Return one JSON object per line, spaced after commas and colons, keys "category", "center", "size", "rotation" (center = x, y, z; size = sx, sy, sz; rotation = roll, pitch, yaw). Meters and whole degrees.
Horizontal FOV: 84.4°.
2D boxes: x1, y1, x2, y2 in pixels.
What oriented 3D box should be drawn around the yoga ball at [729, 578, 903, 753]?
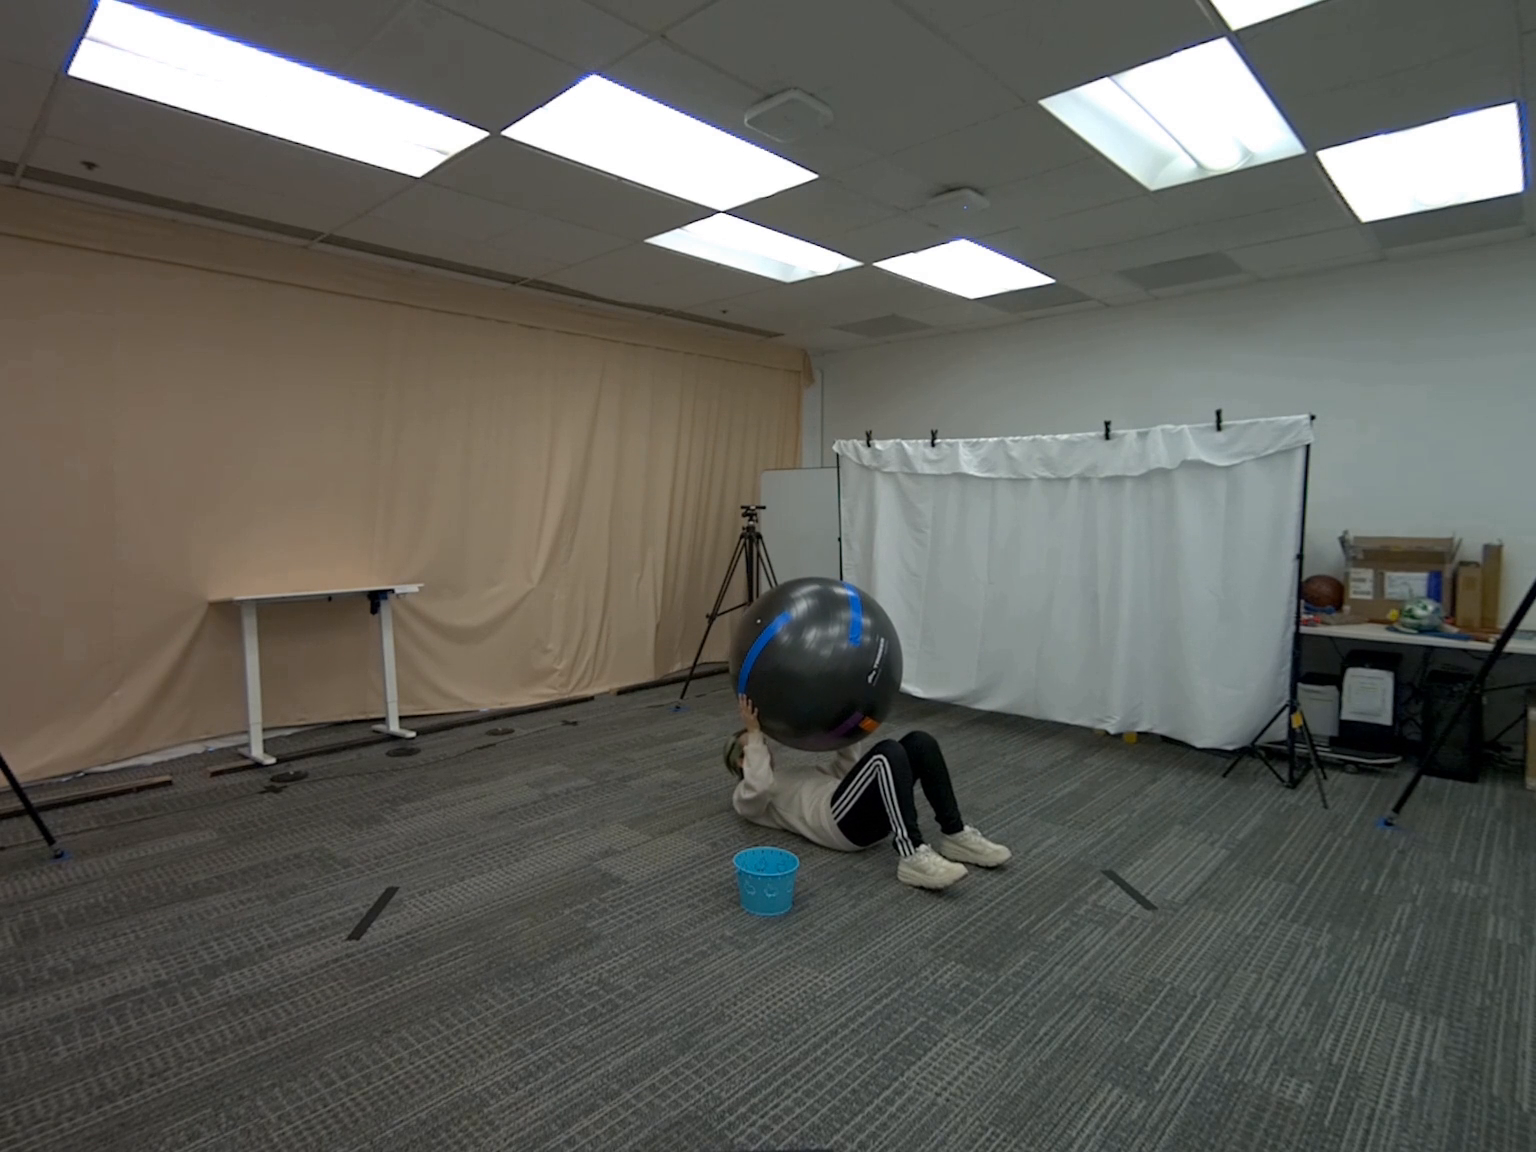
{"category": "yoga ball", "center": [0.207, 0.380, 3.694], "size": [0.757, 0.756, 0.760], "rotation": [0, 4, -2]}
